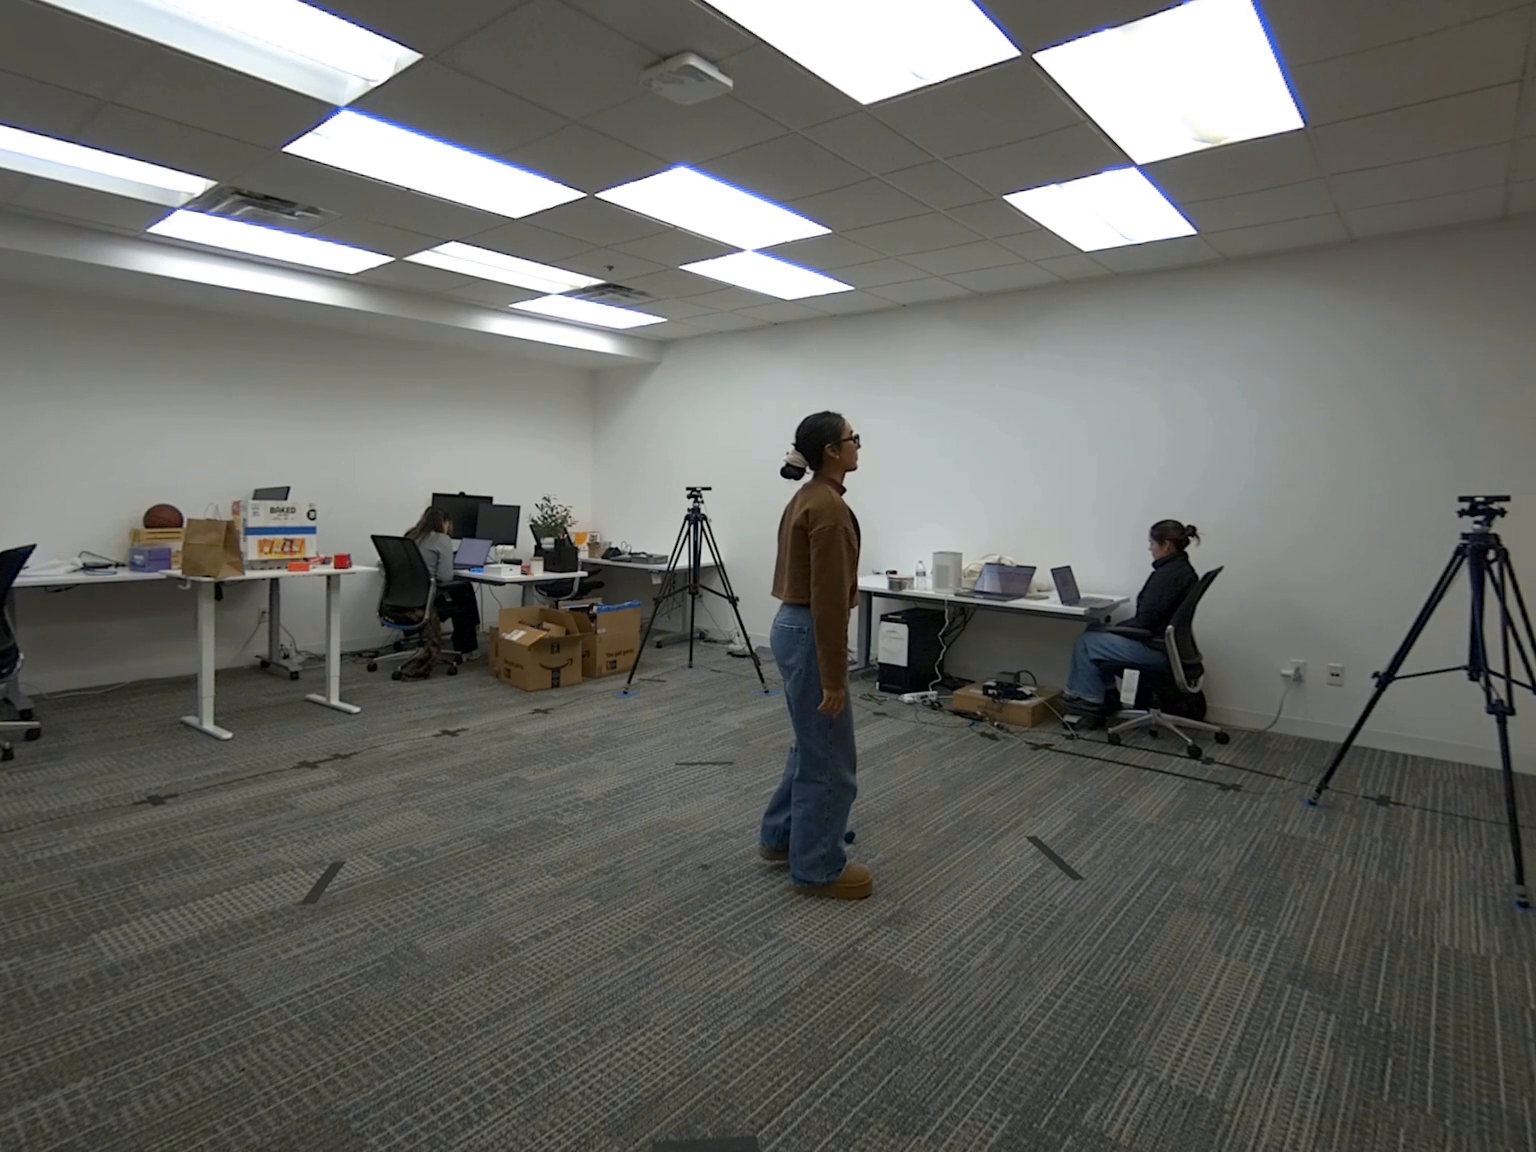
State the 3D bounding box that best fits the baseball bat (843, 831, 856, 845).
[{"bbox_3d":[0.192,0.981,3.594,0.087,0.088,0.559,-1,9,-26],"label":"baseball bat"}]
